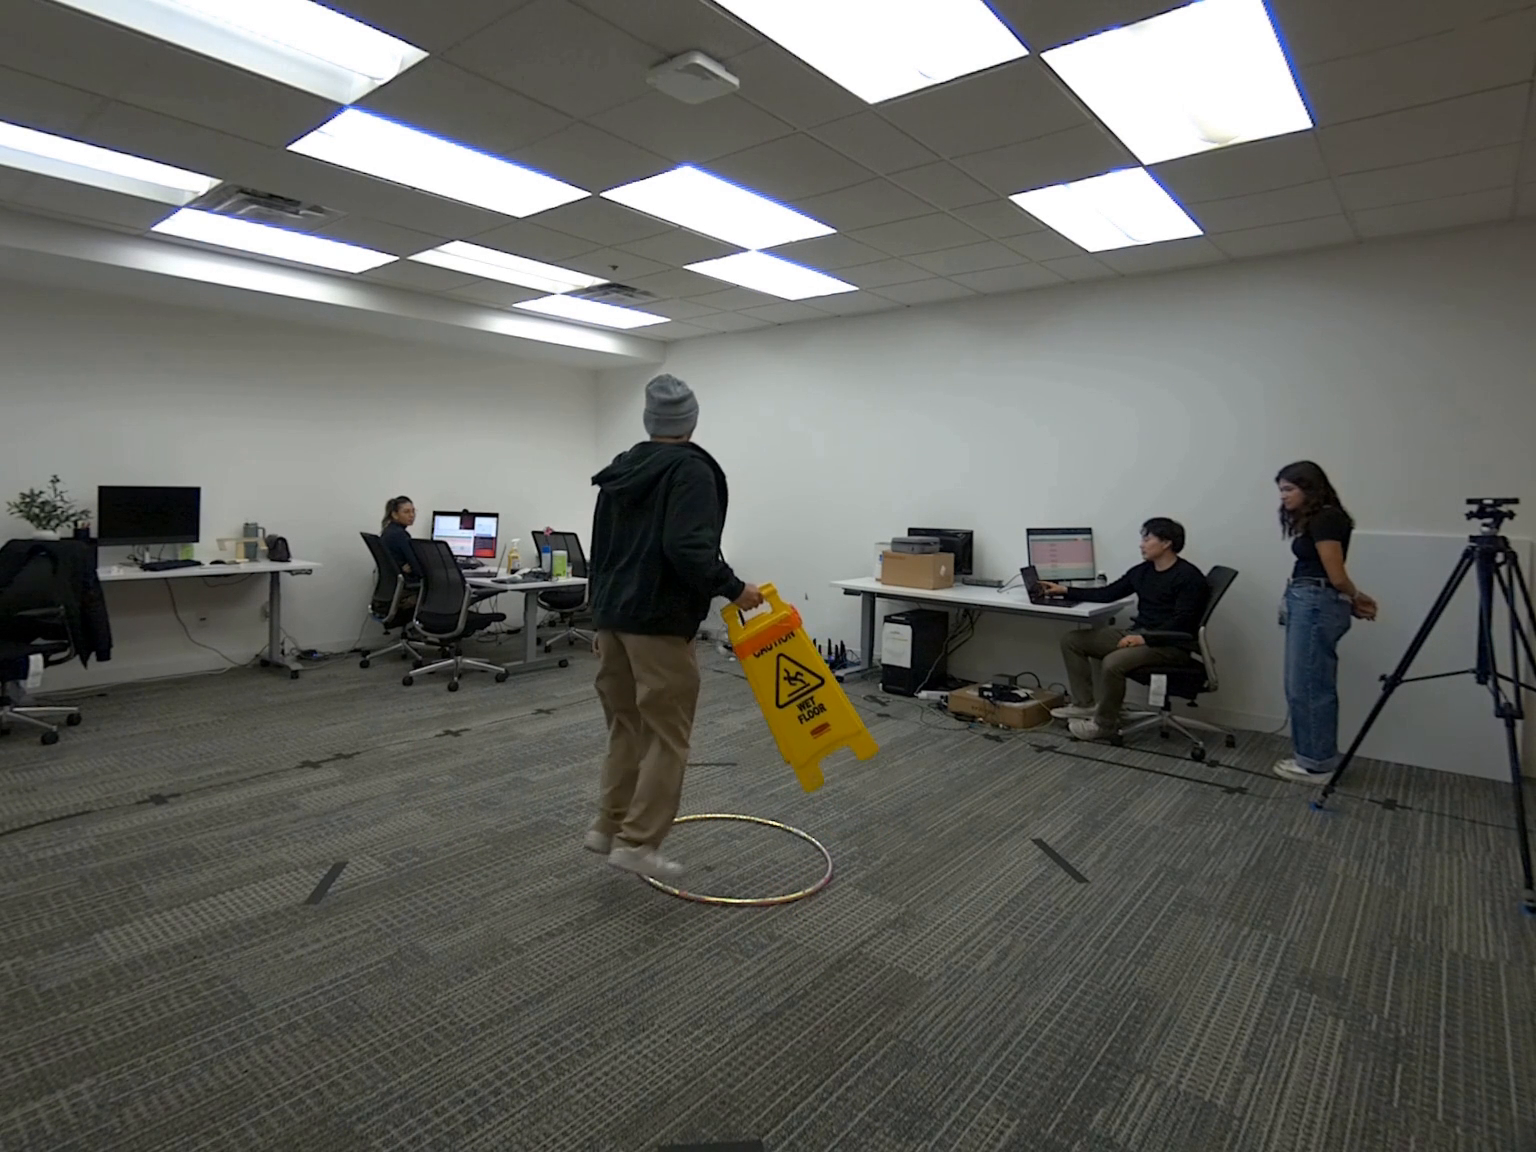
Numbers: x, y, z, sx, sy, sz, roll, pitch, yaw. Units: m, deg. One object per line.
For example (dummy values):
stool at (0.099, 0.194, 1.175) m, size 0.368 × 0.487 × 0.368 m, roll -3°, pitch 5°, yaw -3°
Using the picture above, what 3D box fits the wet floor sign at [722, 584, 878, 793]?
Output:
wet floor sign at (0.058, 0.370, 2.824) m, size 0.281 × 0.637 × 0.295 m, roll -27°, pitch 11°, yaw -5°
